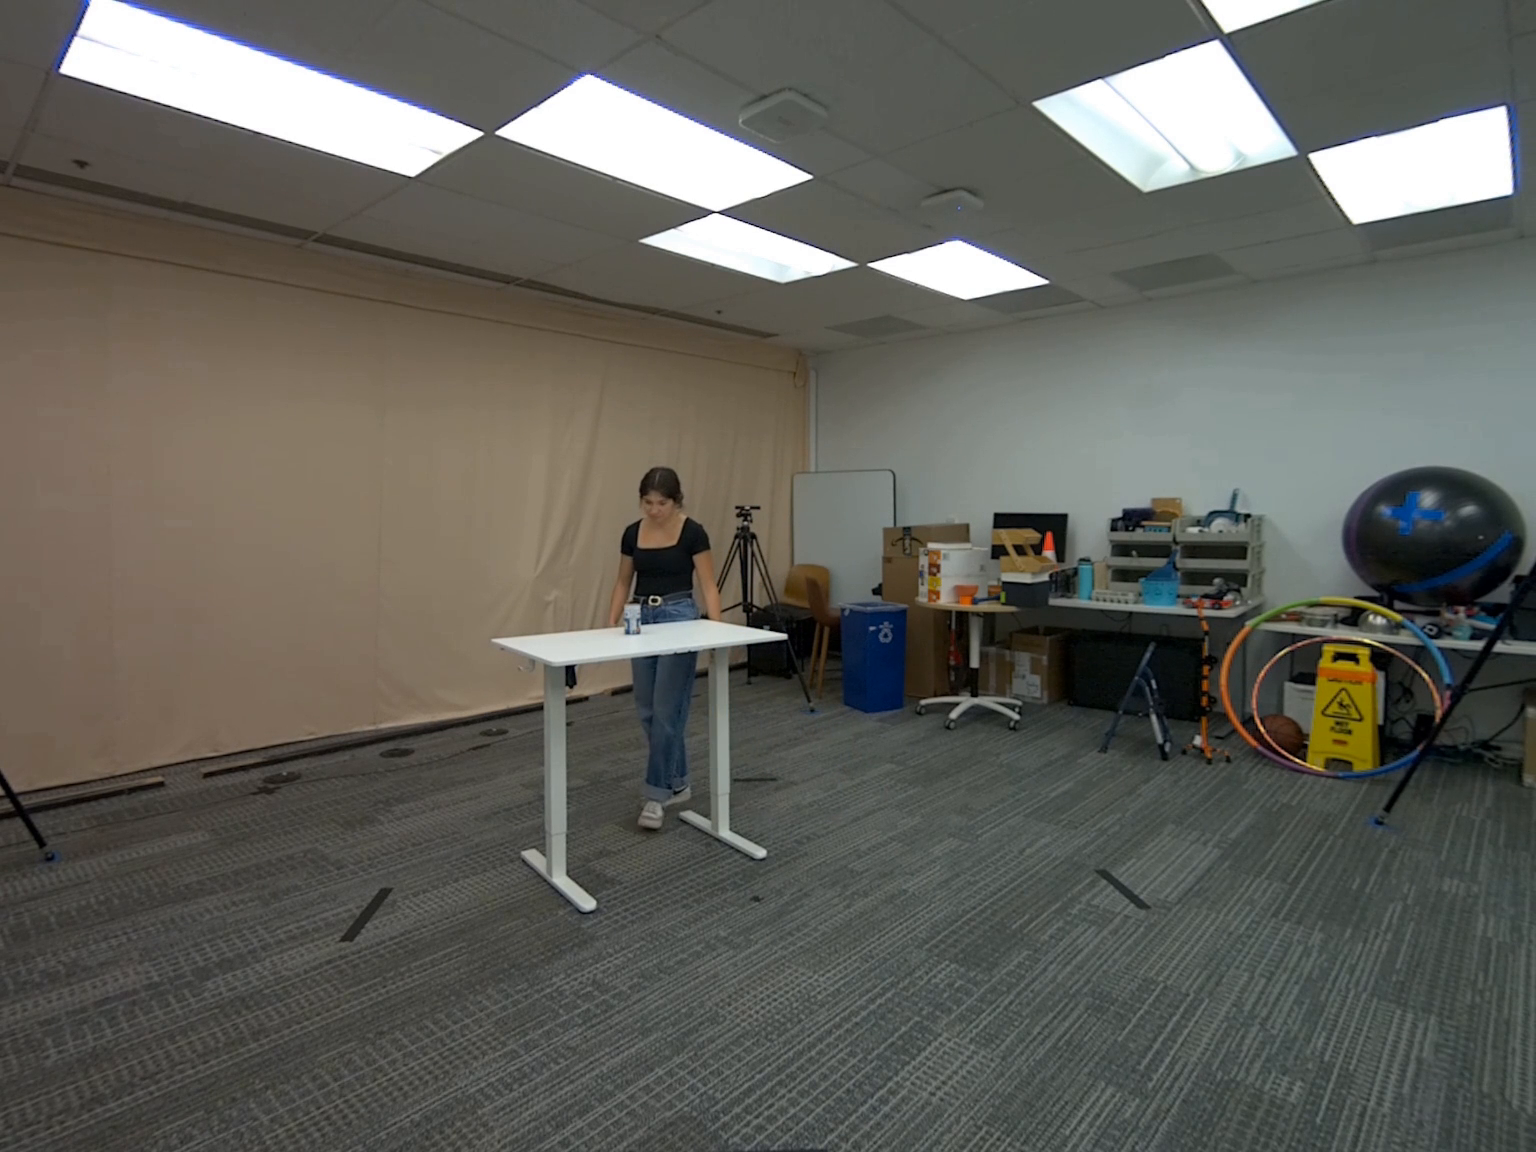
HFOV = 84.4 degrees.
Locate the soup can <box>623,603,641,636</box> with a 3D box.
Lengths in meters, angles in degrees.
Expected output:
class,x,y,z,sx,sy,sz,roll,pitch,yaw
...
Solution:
class,x,y,z,sx,sy,sz,roll,pitch,yaw
soup can,-0.548,0.173,3.390,0.067,0.121,0.067,1,4,-2
